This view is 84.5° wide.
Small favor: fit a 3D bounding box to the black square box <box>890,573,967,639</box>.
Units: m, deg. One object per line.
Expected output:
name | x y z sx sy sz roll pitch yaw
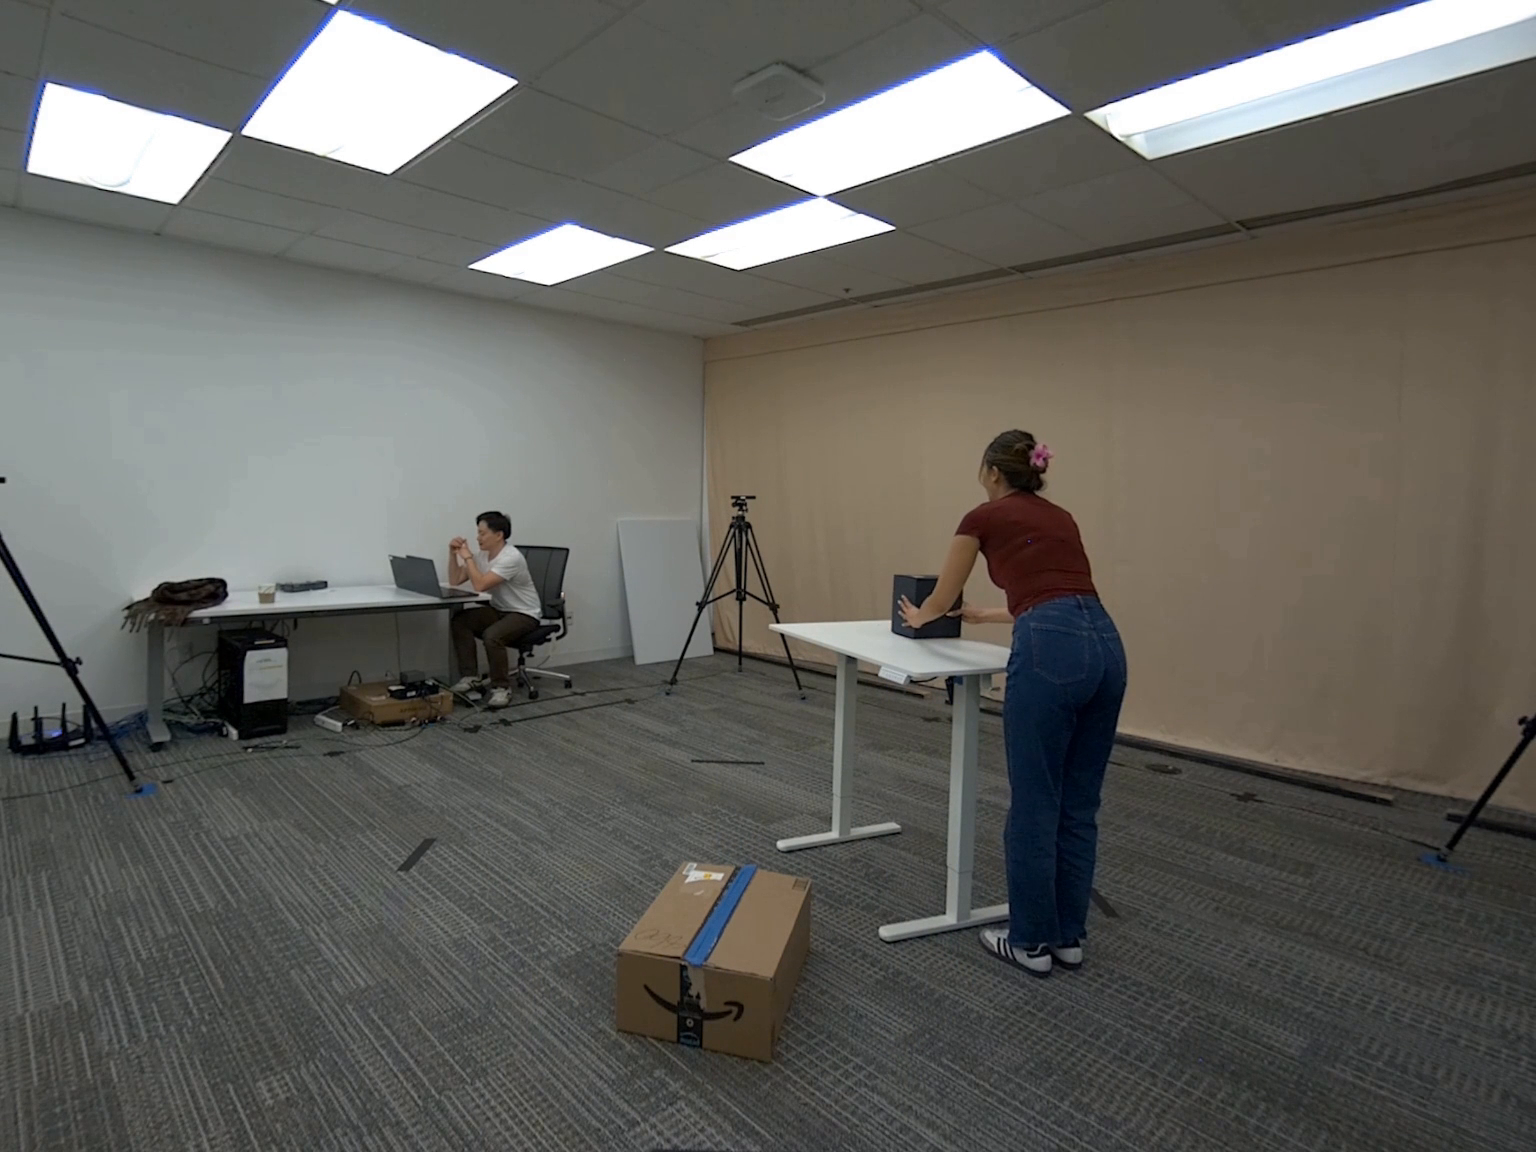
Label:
black square box | 0.608 0.112 3.228 0.213 0.227 0.159 2 3 -24
